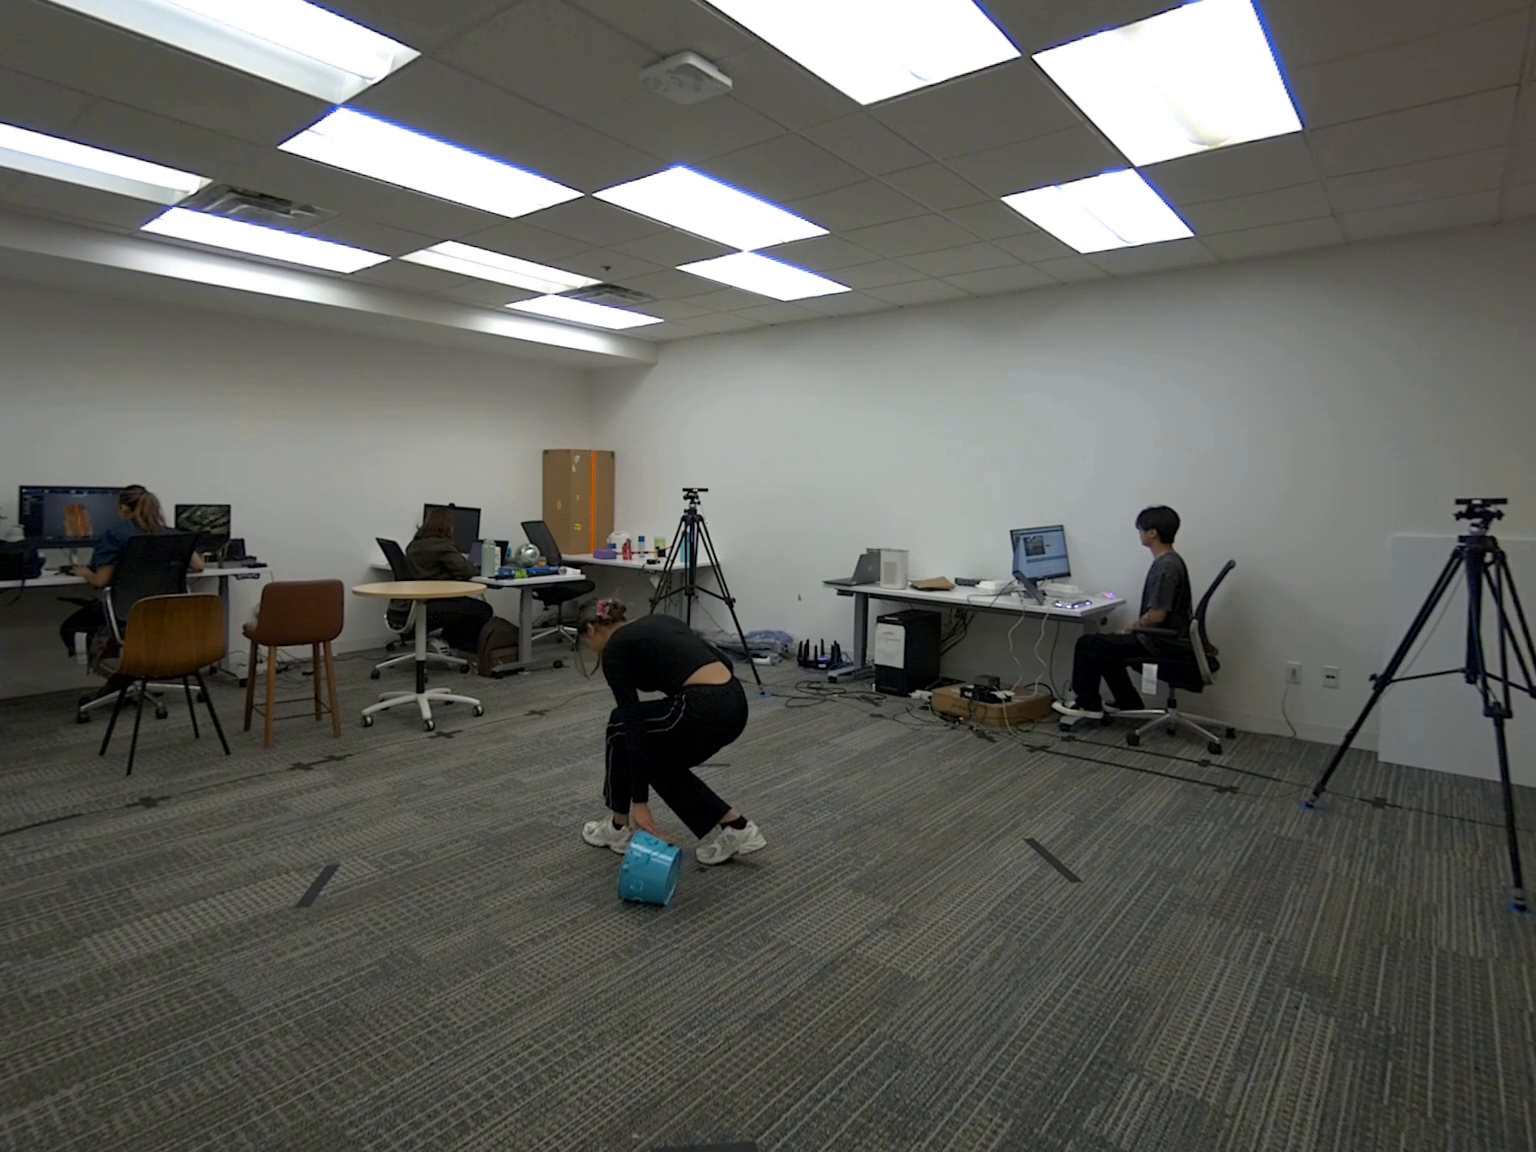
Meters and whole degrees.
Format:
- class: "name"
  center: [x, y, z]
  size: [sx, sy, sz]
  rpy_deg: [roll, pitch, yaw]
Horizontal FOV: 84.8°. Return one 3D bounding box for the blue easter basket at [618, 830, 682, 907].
- class: "blue easter basket"
  center: [-0.407, 0.981, 2.861]
  size: [0.158, 0.242, 0.241]
  rpy_deg: [10, 6, 11]
